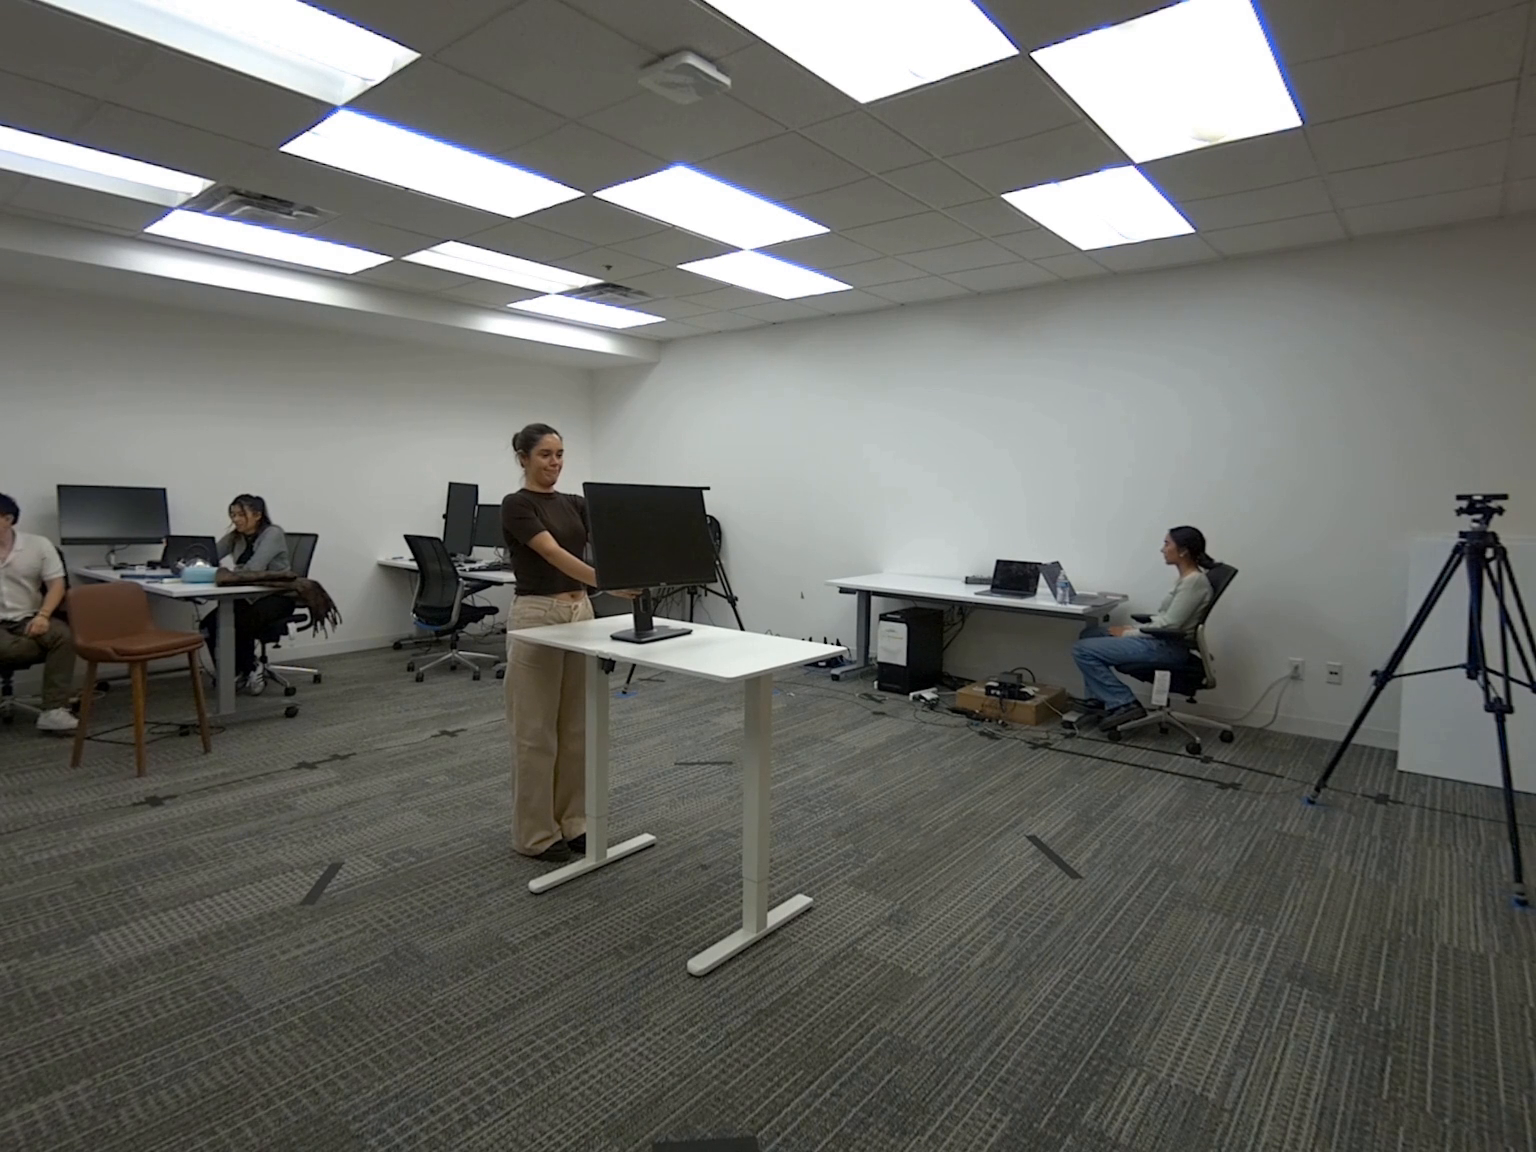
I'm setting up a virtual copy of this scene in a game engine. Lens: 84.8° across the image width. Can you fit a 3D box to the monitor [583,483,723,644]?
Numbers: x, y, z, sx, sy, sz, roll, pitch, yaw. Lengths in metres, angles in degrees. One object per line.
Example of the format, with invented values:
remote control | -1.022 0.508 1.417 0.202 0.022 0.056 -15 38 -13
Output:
monitor | -0.415 -0.051 2.883 0.193 0.522 0.523 1 3 39
